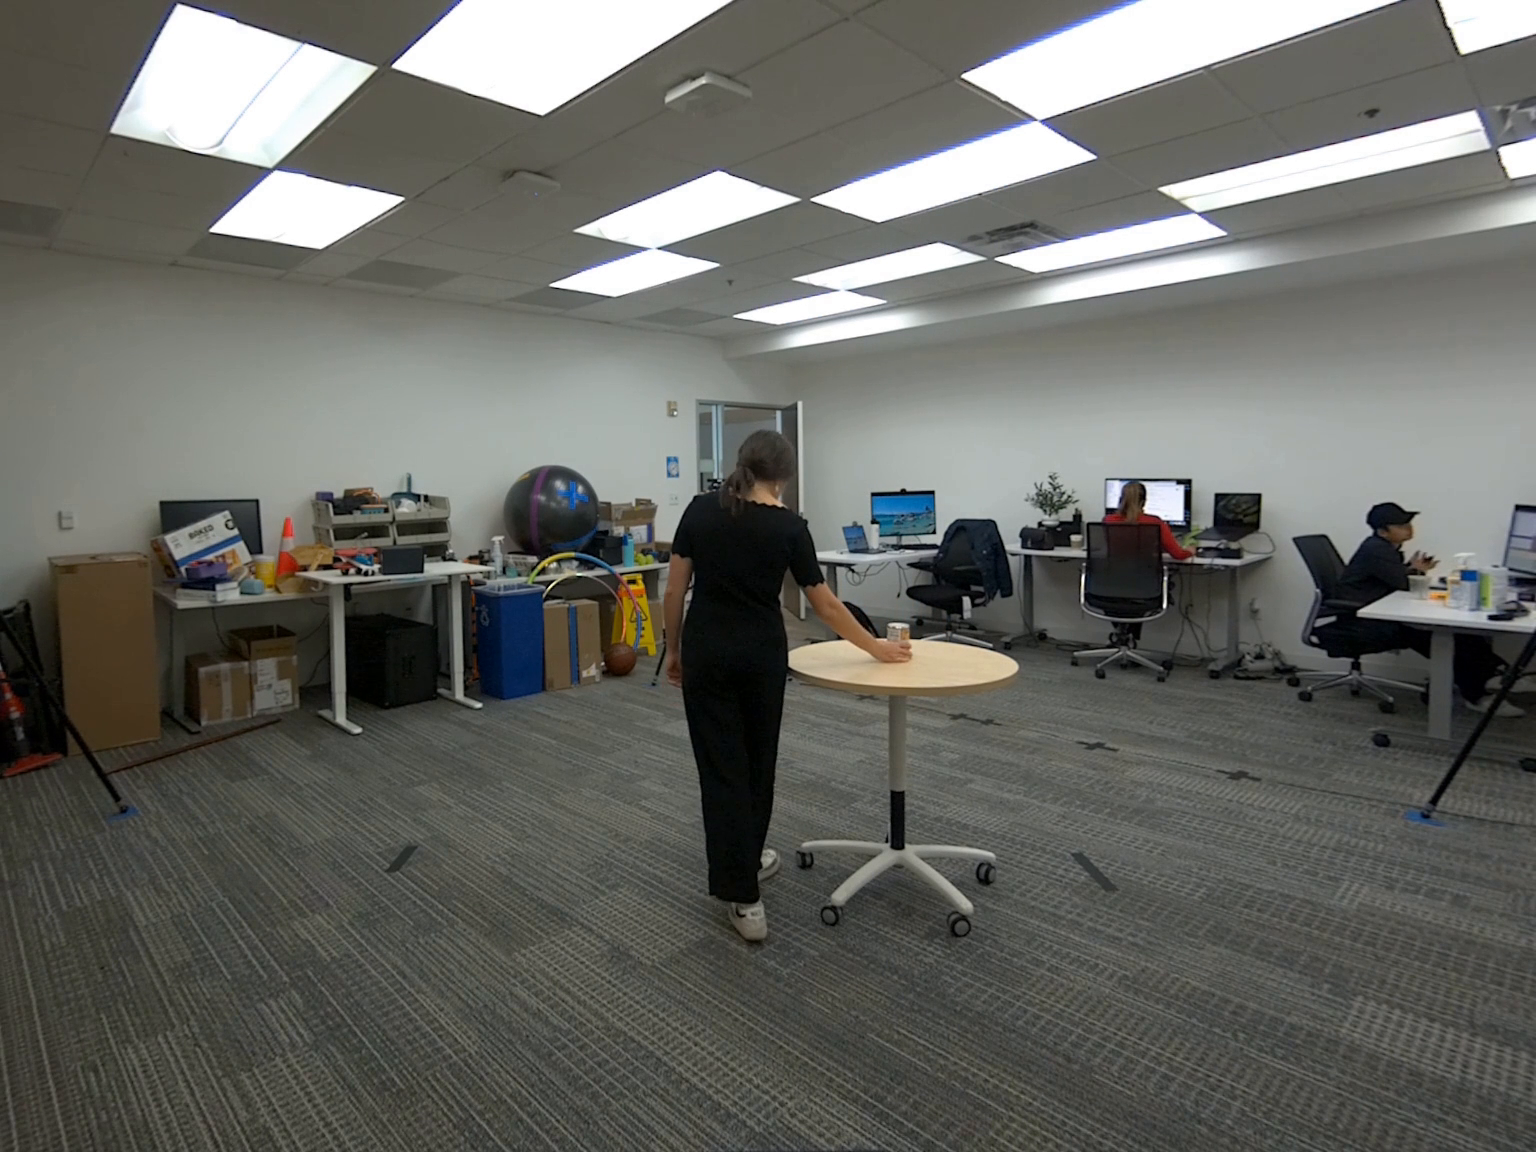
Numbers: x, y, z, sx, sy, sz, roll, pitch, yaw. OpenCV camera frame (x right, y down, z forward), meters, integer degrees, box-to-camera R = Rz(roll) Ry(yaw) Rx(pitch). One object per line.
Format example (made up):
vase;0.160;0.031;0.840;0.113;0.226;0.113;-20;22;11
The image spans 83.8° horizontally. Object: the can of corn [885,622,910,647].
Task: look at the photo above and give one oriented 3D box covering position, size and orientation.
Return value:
can of corn;0.450;0.221;2.887;0.074;0.110;0.075;1;6;-2
